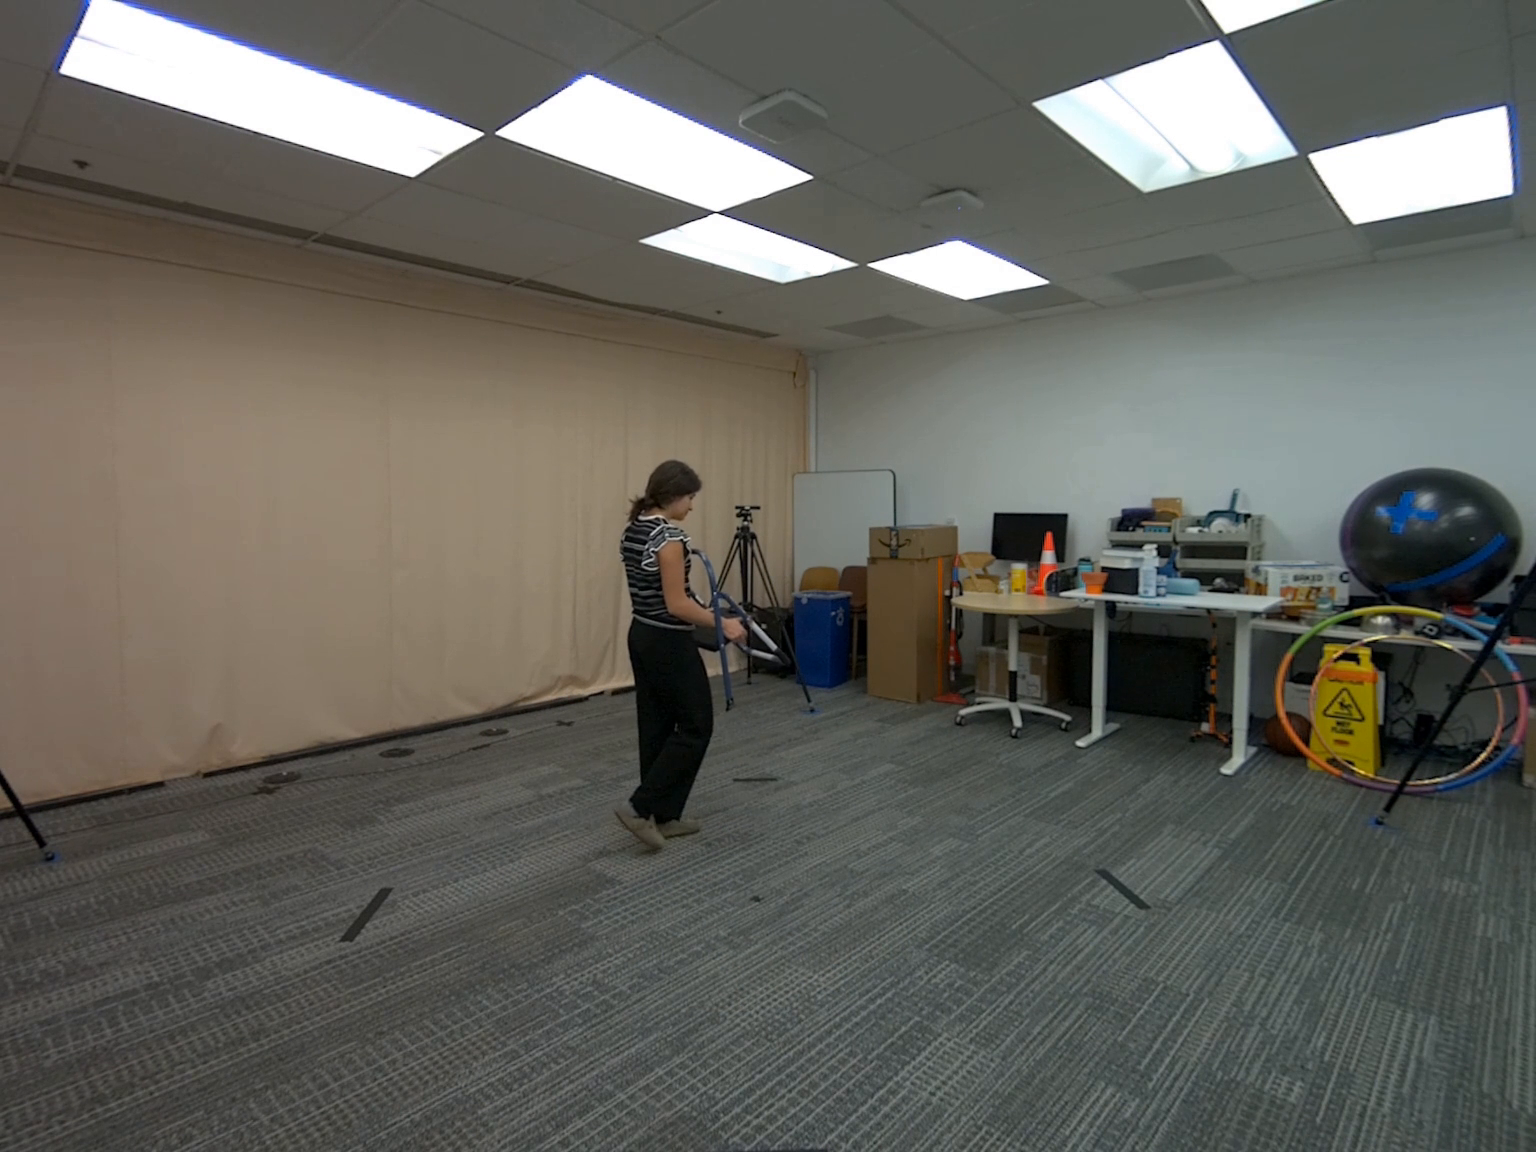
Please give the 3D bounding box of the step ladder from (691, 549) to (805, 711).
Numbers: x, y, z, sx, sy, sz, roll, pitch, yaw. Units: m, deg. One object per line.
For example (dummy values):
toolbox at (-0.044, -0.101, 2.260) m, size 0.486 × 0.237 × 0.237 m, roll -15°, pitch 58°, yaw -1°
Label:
step ladder at (-0.251, 0.188, 3.577) m, size 0.345 × 0.597 × 0.442 m, roll -33°, pitch 17°, yaw -23°
